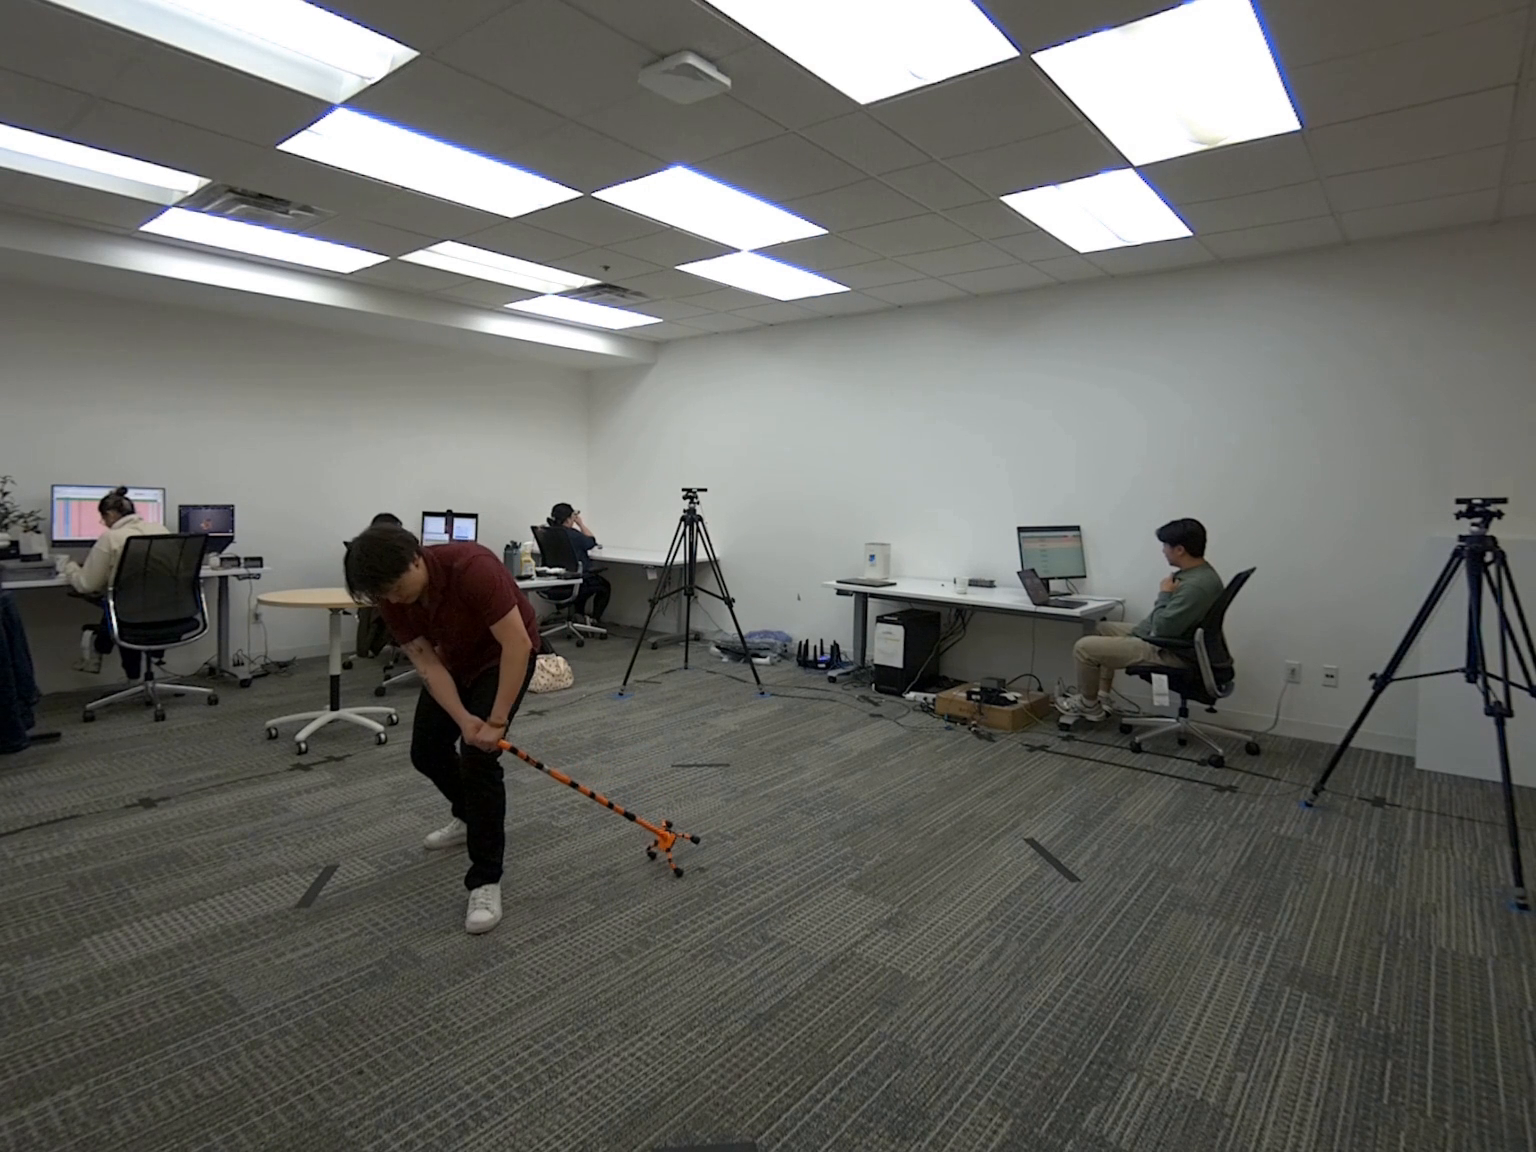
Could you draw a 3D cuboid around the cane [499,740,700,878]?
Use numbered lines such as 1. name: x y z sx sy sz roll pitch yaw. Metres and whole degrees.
1. cane: -0.627 0.758 2.907 0.874 0.152 0.213 41 -20 -32
